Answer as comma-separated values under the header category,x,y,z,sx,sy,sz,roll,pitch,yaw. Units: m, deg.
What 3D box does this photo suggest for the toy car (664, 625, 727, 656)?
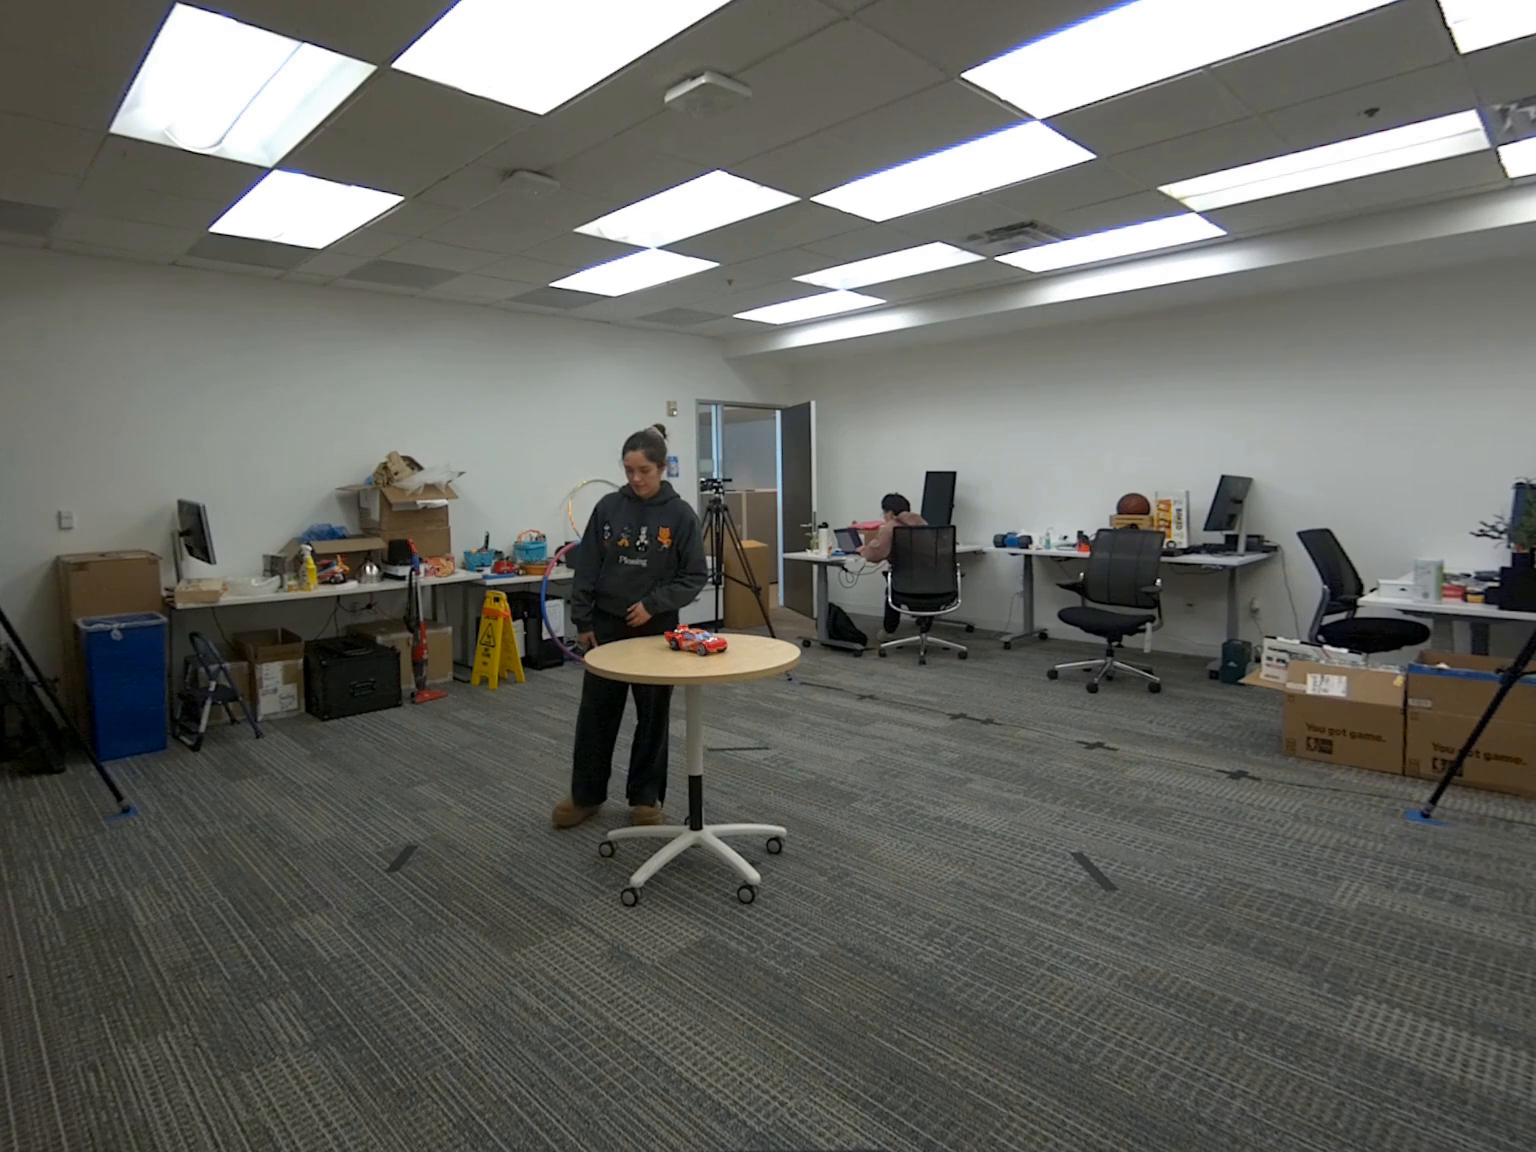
category,x,y,z,sx,sy,sz,roll,pitch,yaw
toy car,-0.264,0.238,3.072,0.127,0.082,0.264,-6,18,-45
